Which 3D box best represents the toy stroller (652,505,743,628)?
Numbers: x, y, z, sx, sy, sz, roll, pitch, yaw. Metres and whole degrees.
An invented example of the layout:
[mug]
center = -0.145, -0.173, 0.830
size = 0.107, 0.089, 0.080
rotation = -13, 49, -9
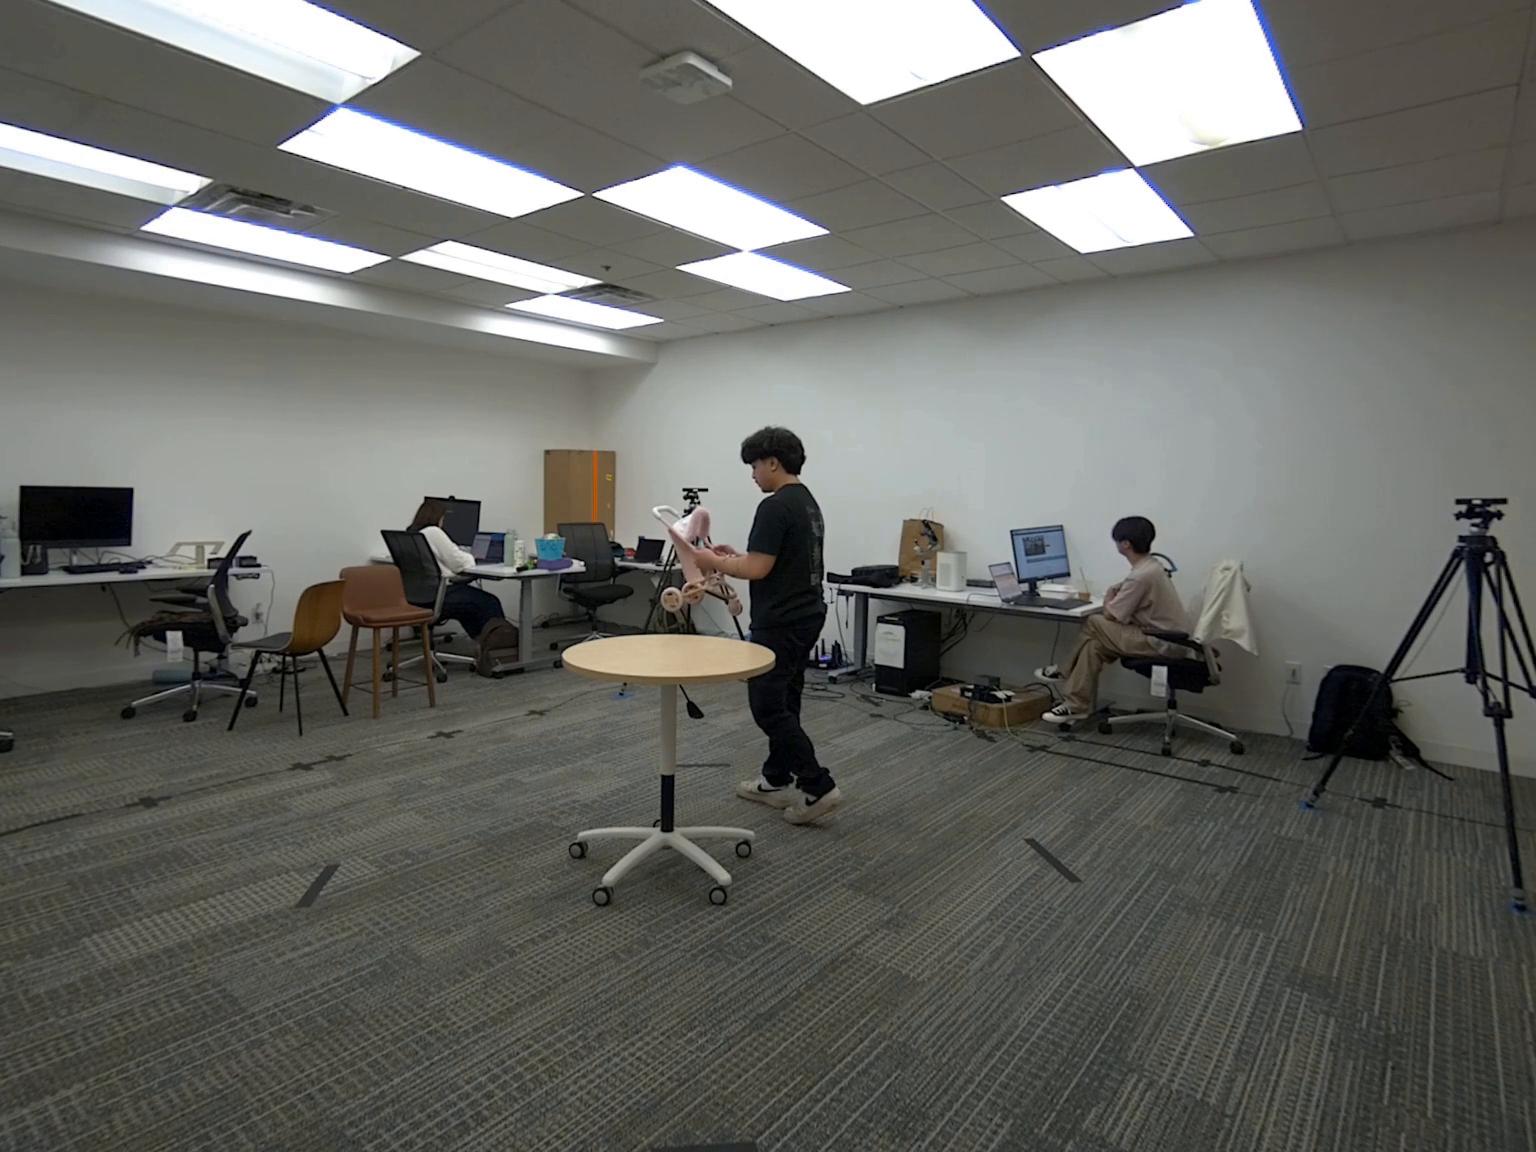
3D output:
[toy stroller]
center = -0.323, -0.074, 3.841
size = 0.348, 0.535, 0.276
rotation = -7, 1, 23
